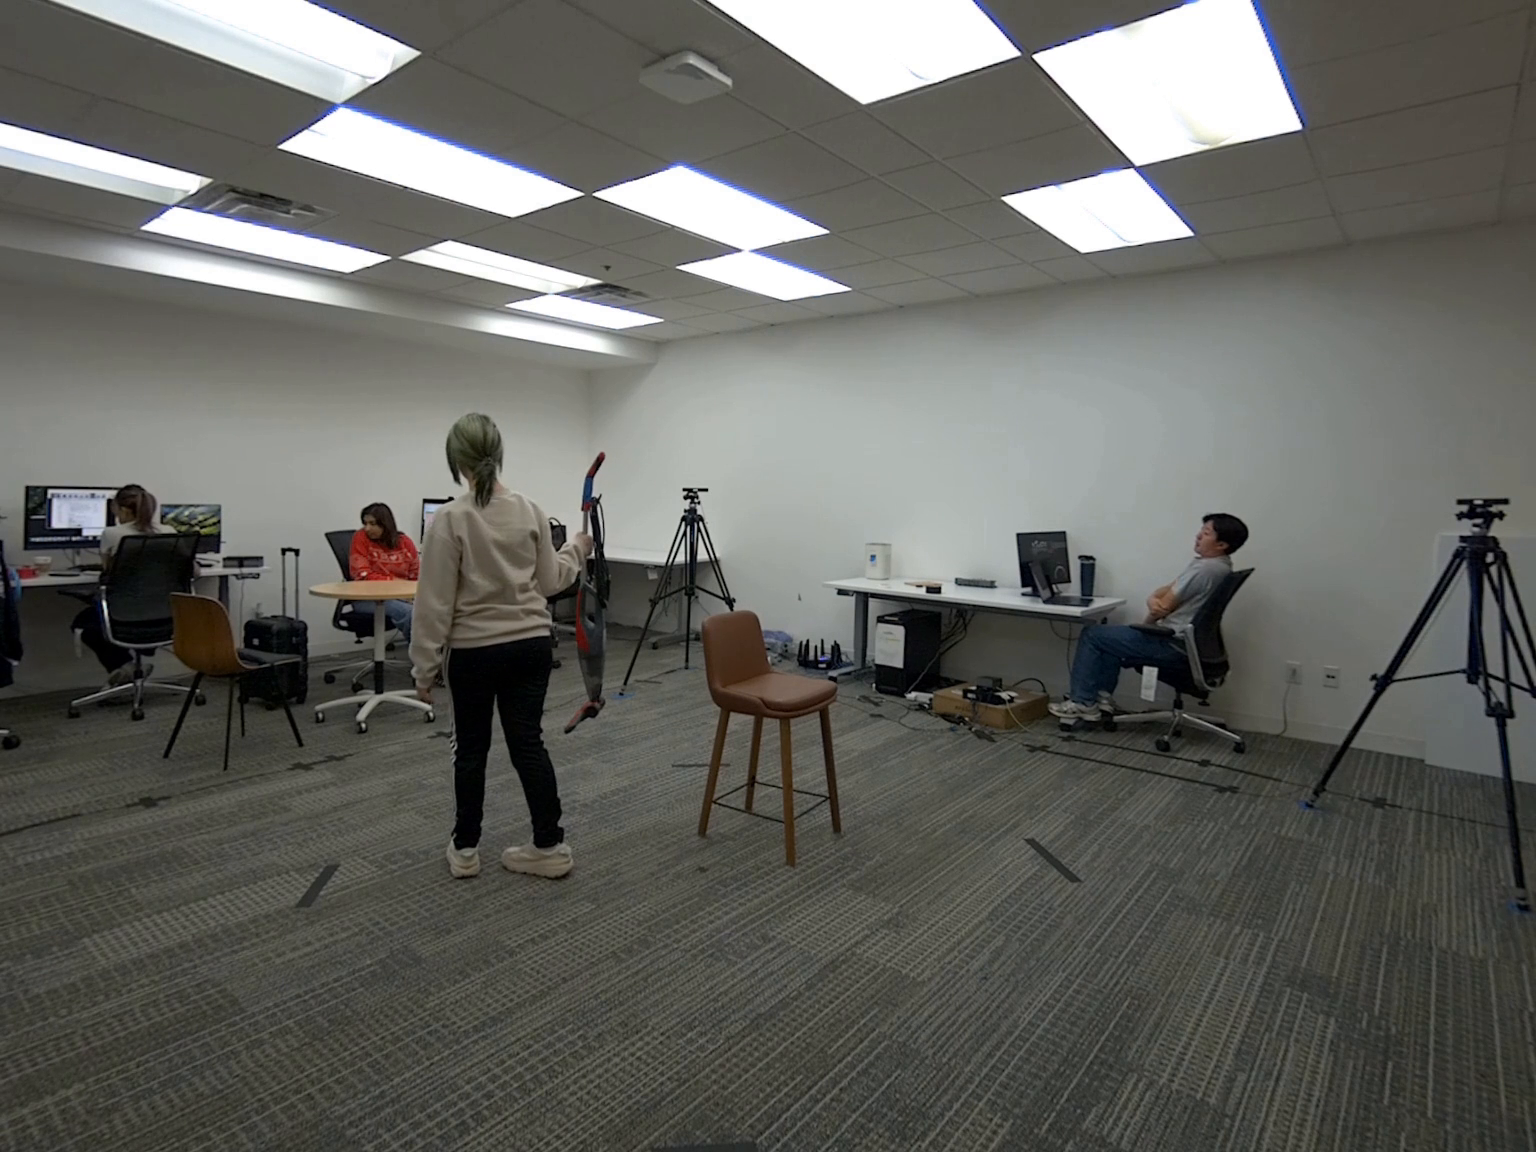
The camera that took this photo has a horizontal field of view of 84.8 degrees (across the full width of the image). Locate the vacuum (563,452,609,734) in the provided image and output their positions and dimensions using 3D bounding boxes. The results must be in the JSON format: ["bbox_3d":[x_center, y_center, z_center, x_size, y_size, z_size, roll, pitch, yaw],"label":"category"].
[{"bbox_3d":[-0.702,0.043,3.356,0.145,1.043,0.251,7,7,7],"label":"vacuum"}]
